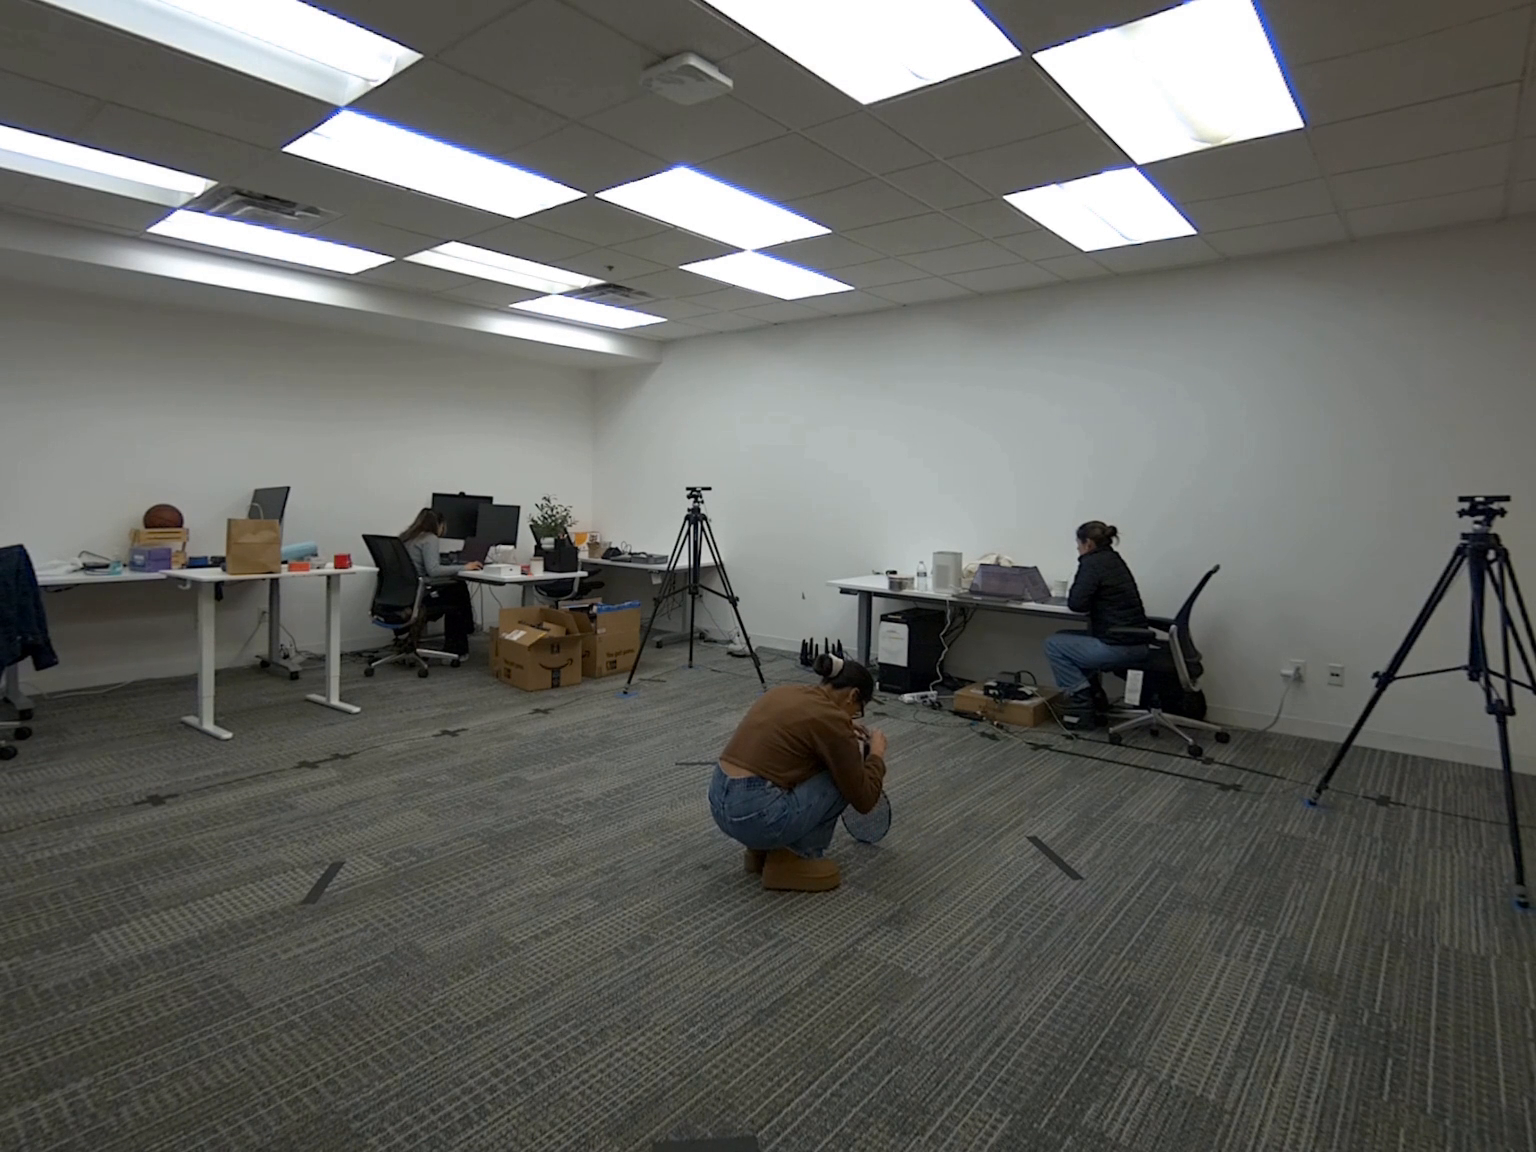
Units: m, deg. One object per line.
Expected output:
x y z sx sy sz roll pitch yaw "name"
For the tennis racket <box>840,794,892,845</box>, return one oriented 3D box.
0.372 0.844 3.335 0.220 0.430 0.031 2 7 29 "tennis racket"
